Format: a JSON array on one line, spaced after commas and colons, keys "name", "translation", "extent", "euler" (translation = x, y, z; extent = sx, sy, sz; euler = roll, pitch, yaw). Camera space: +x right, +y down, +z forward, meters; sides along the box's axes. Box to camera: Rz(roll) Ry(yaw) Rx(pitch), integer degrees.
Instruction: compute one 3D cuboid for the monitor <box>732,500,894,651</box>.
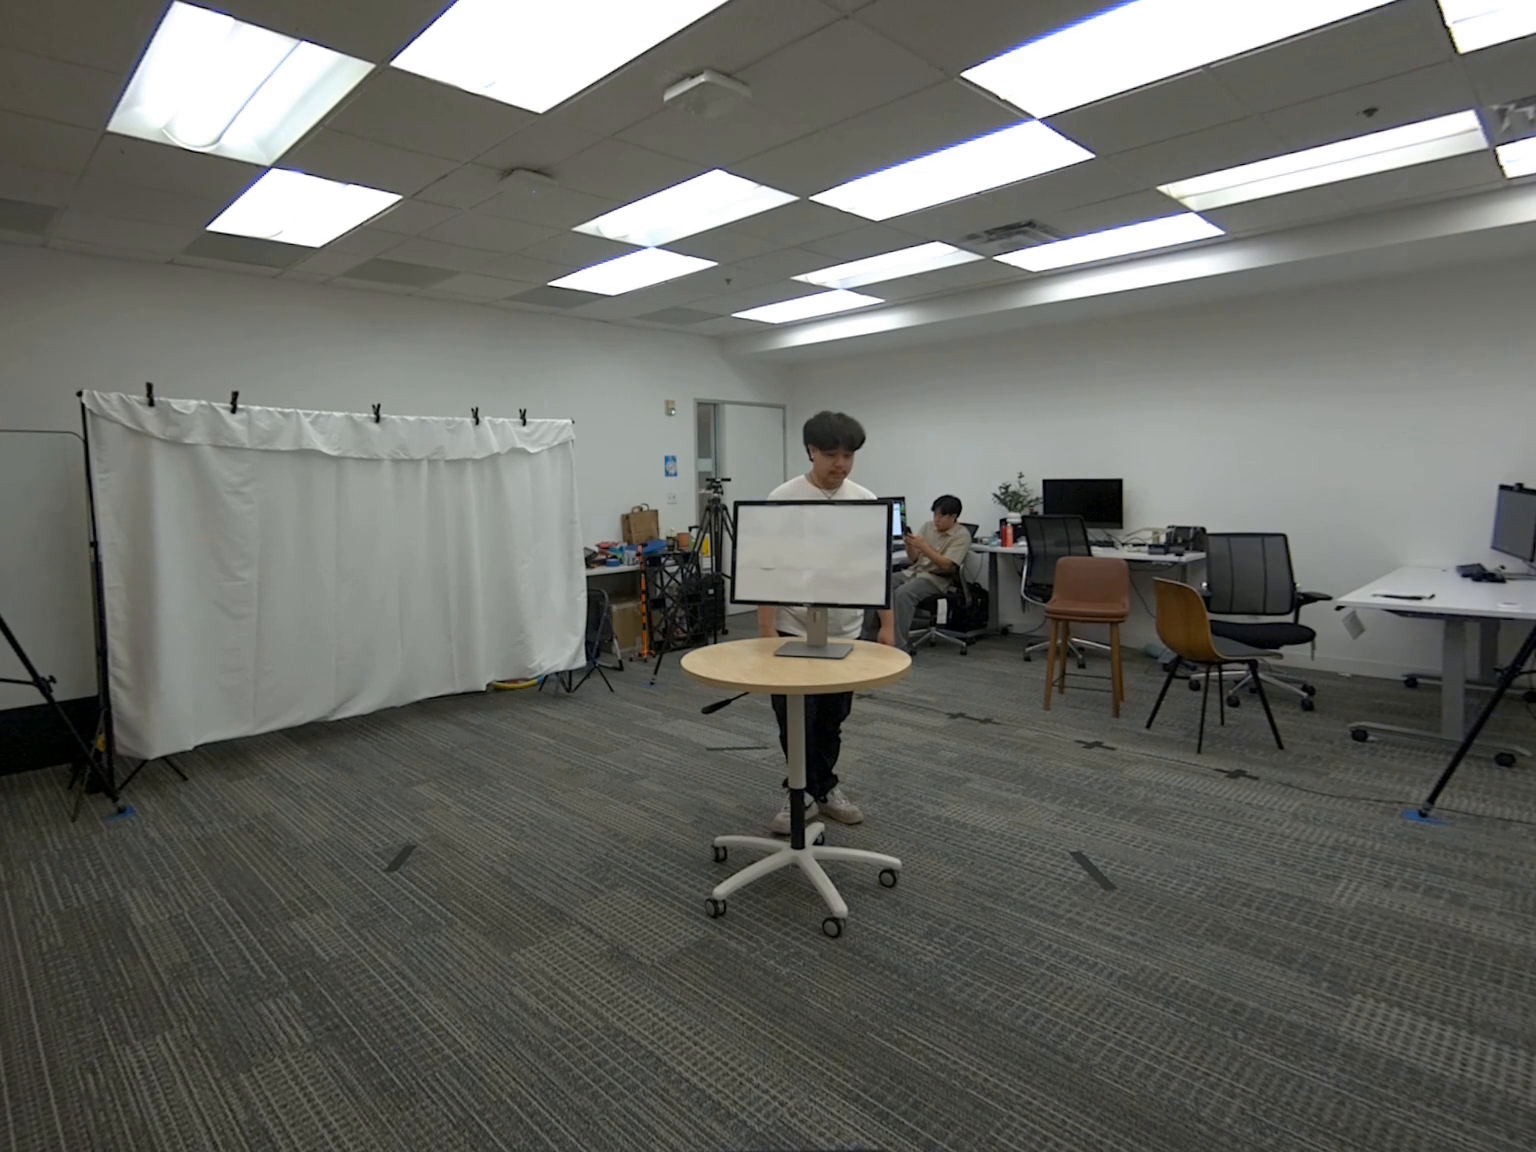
[{"name": "monitor", "translation": [0.176, 0.010, 2.963], "extent": [0.576, 0.554, 0.206], "euler": [1, 0, 21]}]
